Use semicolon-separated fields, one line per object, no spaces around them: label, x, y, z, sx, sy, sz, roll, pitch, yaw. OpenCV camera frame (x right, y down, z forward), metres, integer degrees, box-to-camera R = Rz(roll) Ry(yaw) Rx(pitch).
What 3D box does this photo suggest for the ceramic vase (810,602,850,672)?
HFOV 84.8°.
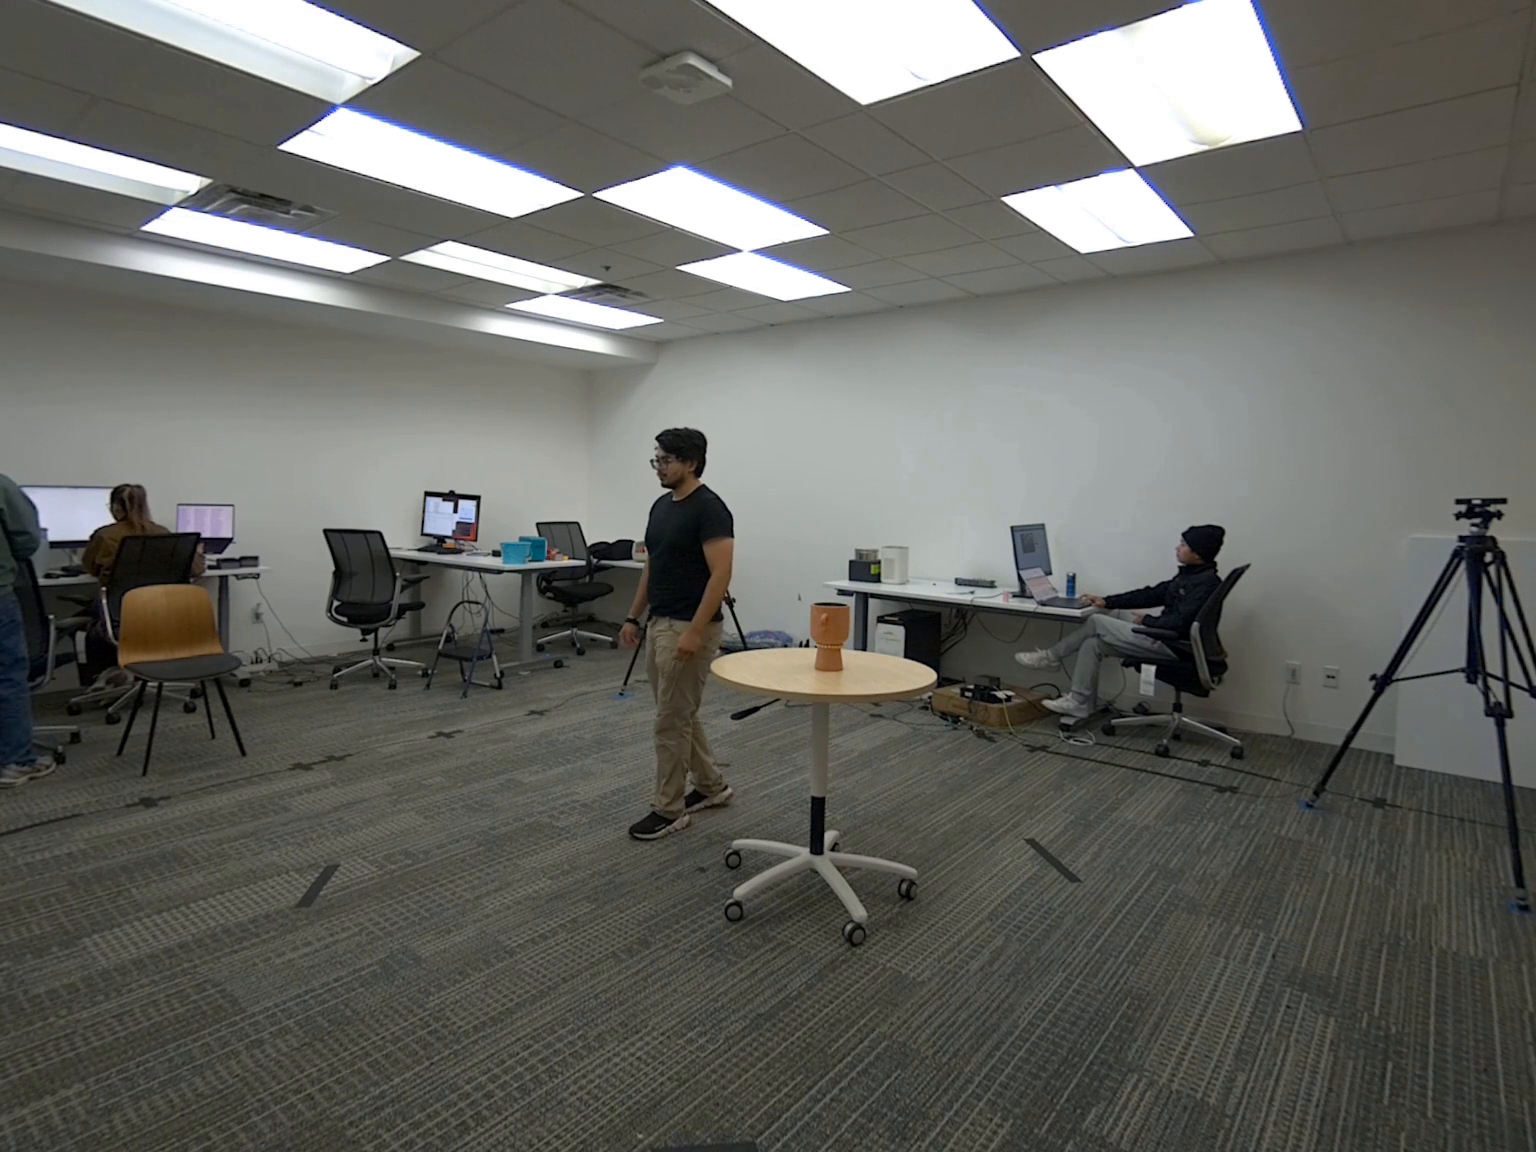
ceramic vase;0.204;0.203;2.906;0.154;0.219;0.139;-2;4;-32
